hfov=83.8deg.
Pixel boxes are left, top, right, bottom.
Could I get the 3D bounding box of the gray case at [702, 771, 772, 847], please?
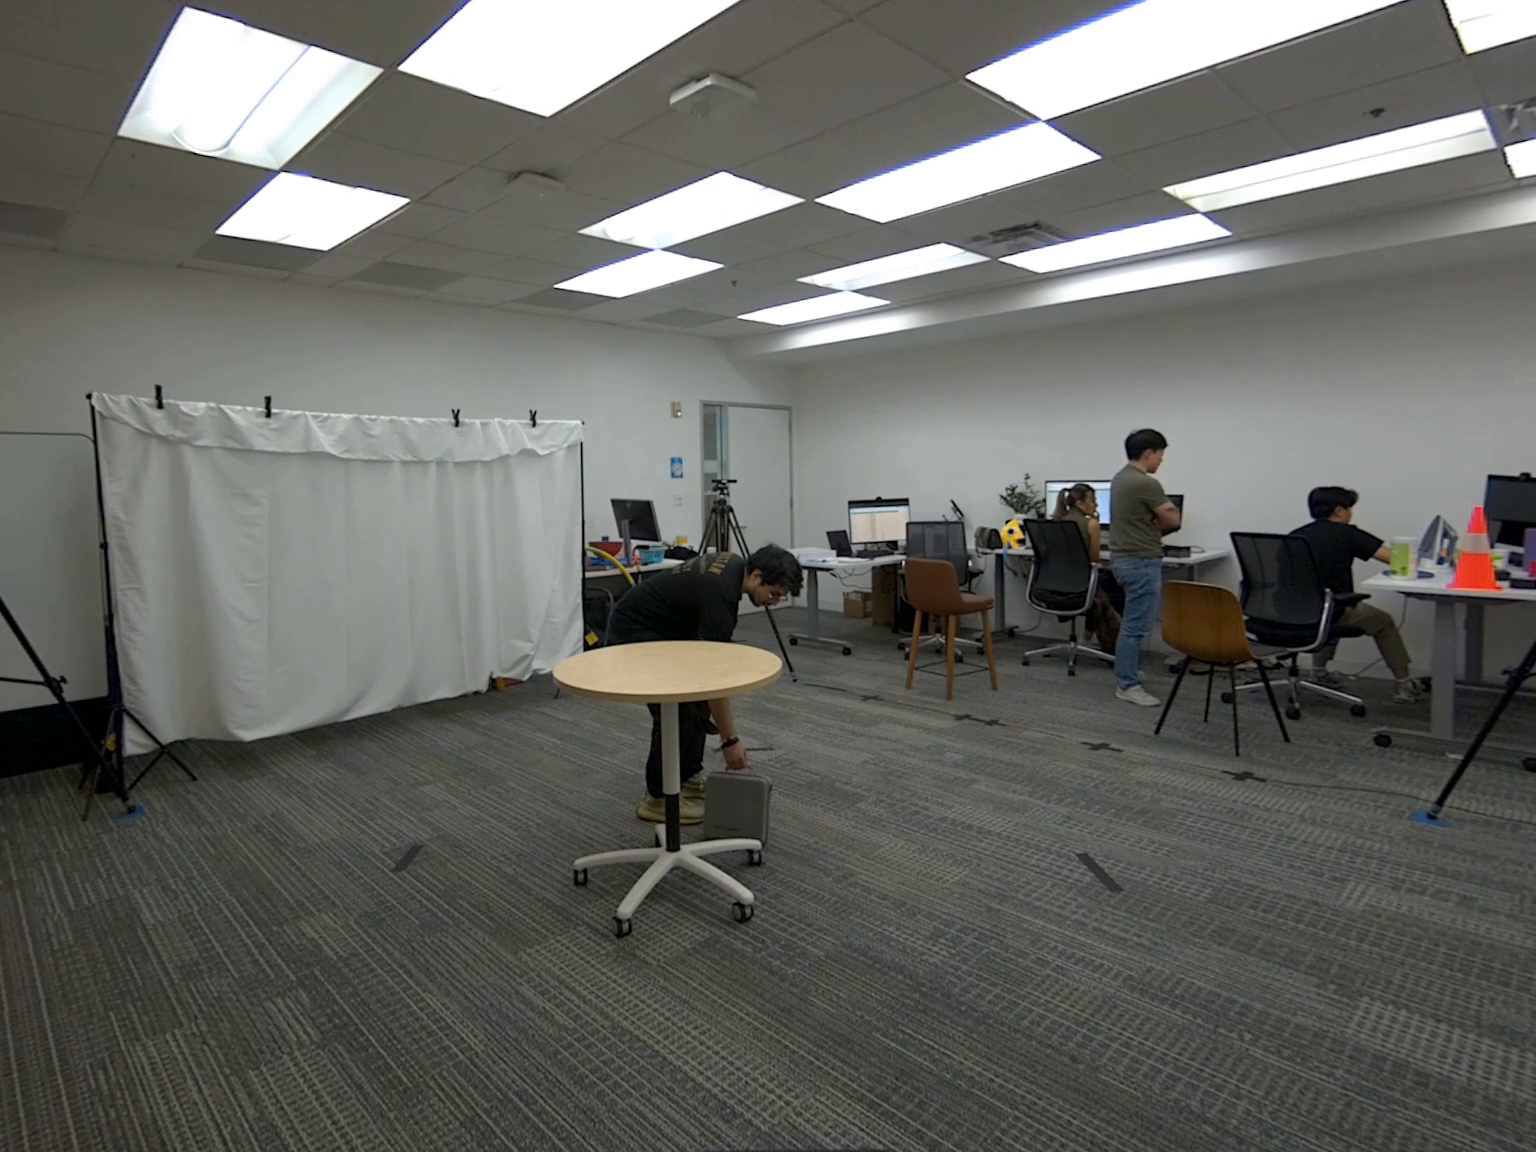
[{"bbox_3d":[-0.119,0.893,3.320,0.261,0.262,0.102,1,-7,18],"label":"gray case"}]
